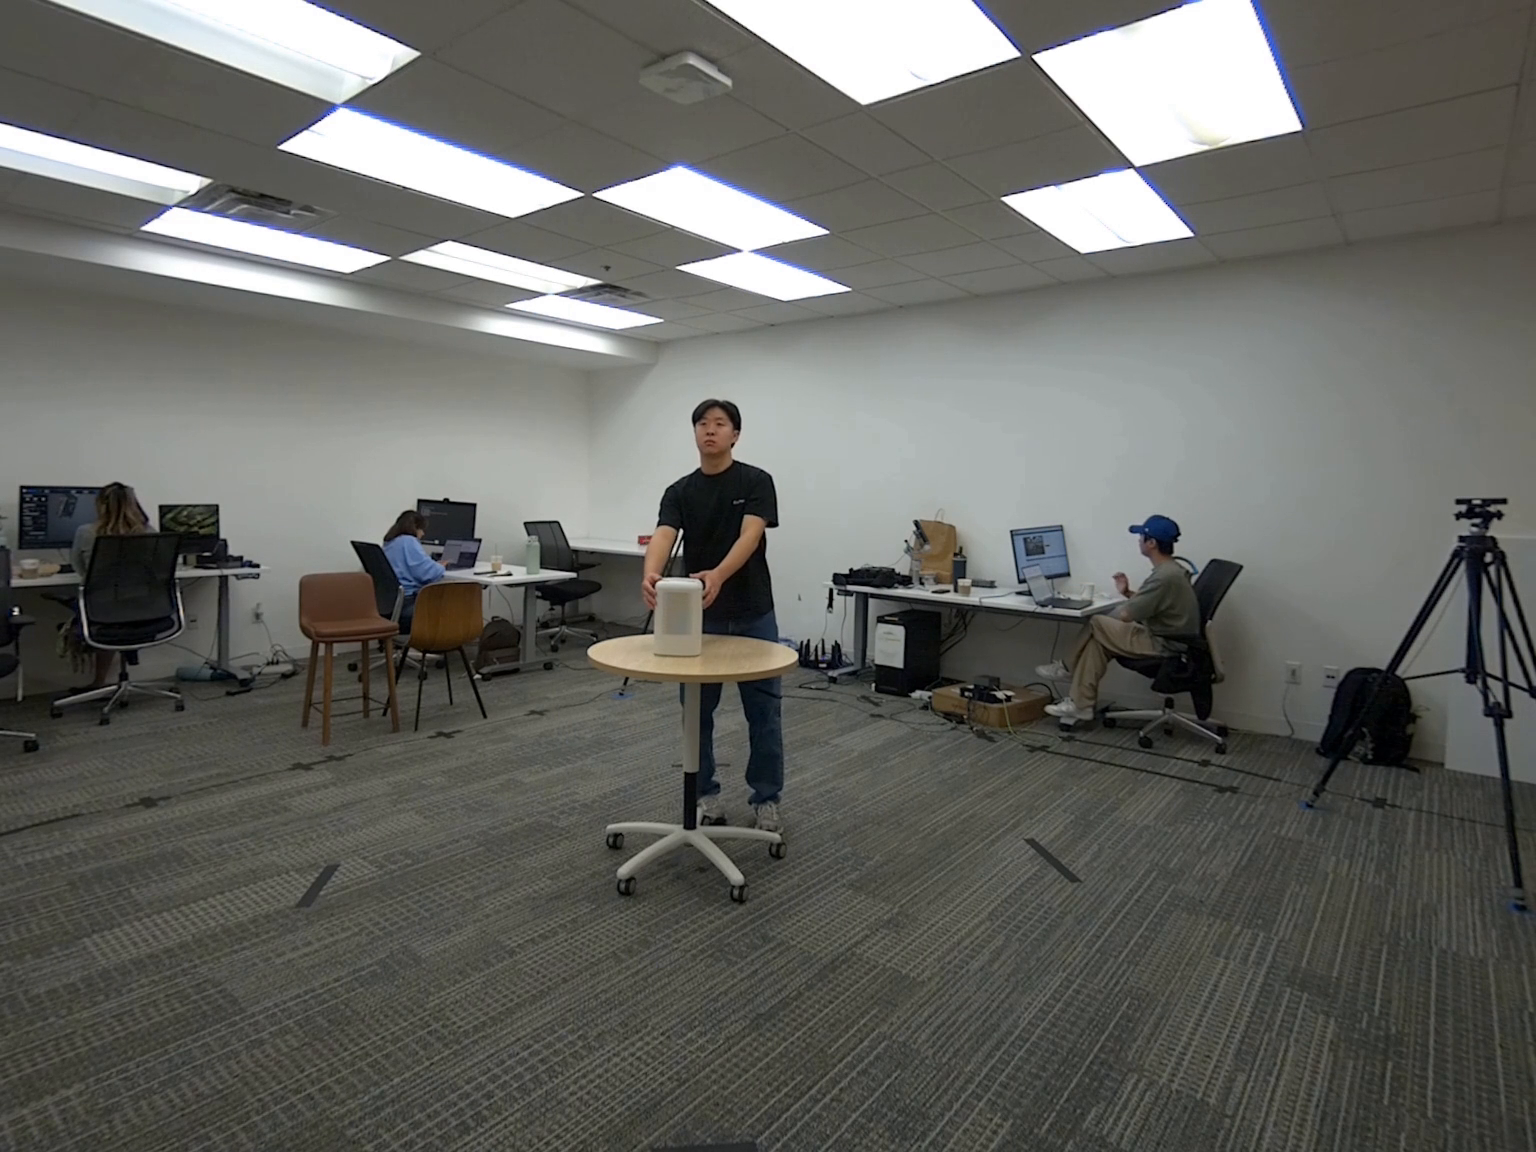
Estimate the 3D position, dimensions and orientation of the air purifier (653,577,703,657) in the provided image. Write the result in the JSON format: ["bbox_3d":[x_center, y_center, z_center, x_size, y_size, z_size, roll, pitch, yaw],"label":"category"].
[{"bbox_3d":[-0.333,0.141,3.075,0.172,0.265,0.171,2,3,0],"label":"air purifier"}]
